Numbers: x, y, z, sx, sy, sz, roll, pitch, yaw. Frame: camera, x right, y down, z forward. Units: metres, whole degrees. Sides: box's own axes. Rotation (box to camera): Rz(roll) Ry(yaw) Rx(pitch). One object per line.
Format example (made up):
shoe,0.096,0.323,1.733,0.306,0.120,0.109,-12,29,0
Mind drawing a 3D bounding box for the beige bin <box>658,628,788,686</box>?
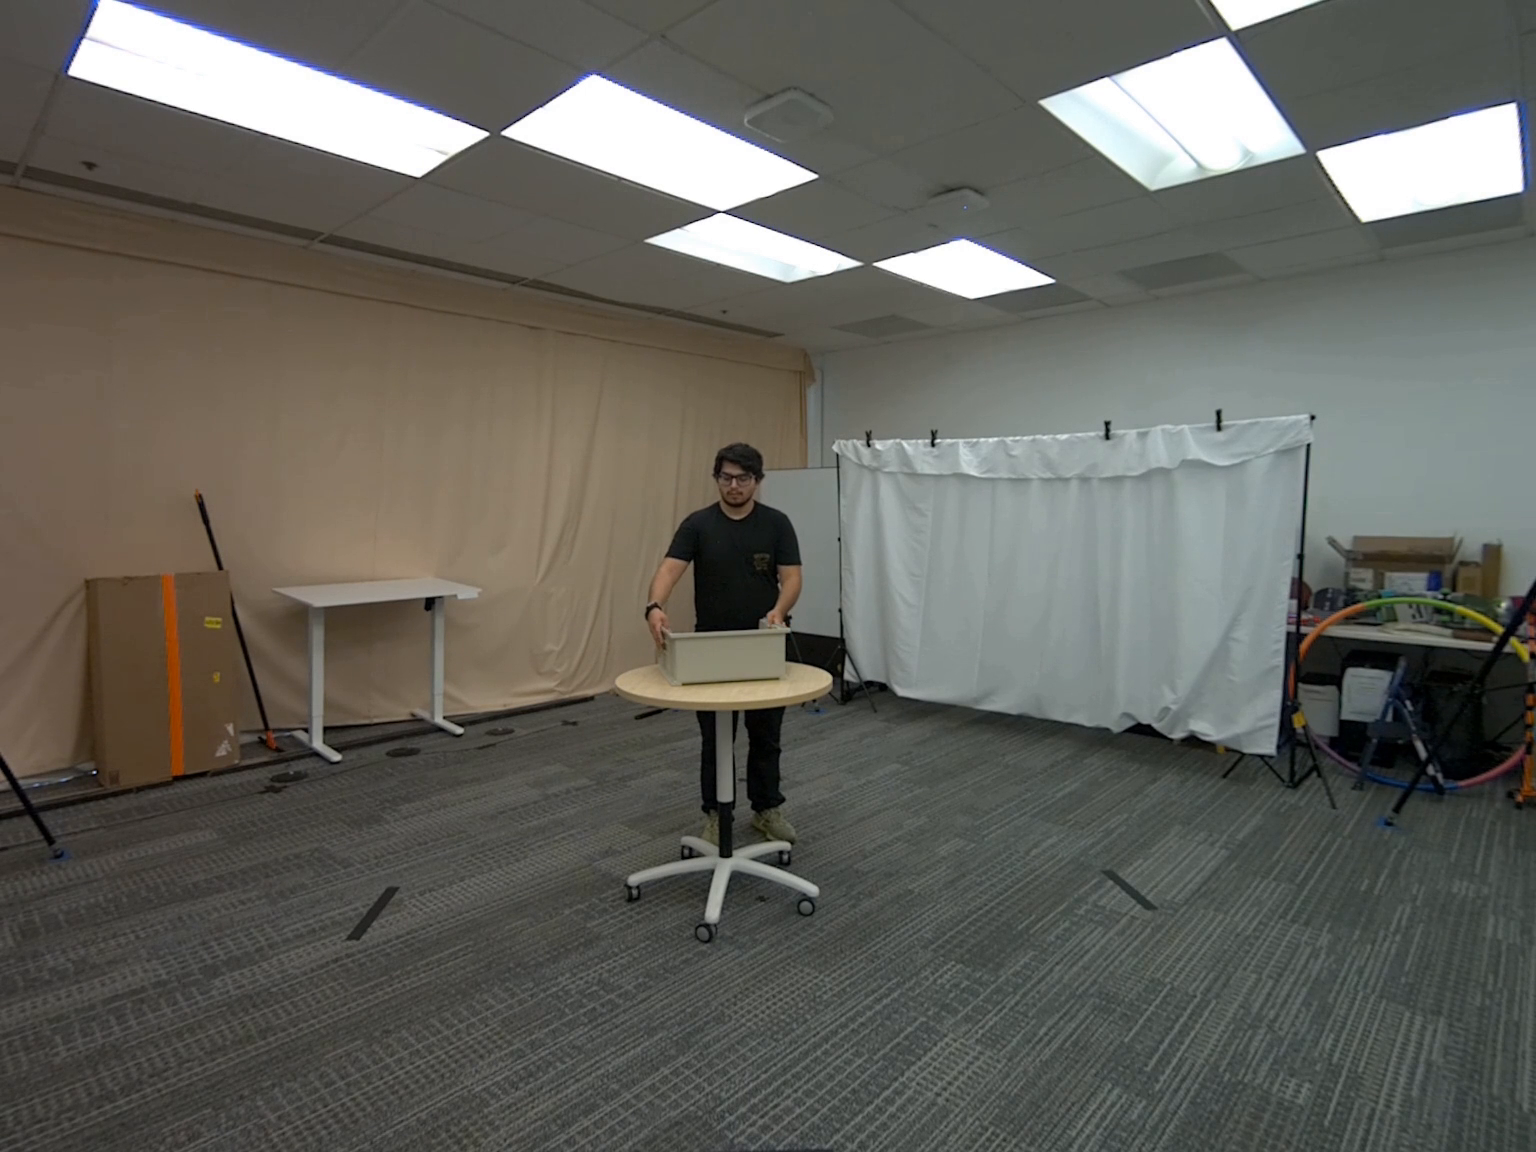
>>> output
beige bin,-0.172,0.255,3.050,0.417,0.188,0.384,0,8,-13
